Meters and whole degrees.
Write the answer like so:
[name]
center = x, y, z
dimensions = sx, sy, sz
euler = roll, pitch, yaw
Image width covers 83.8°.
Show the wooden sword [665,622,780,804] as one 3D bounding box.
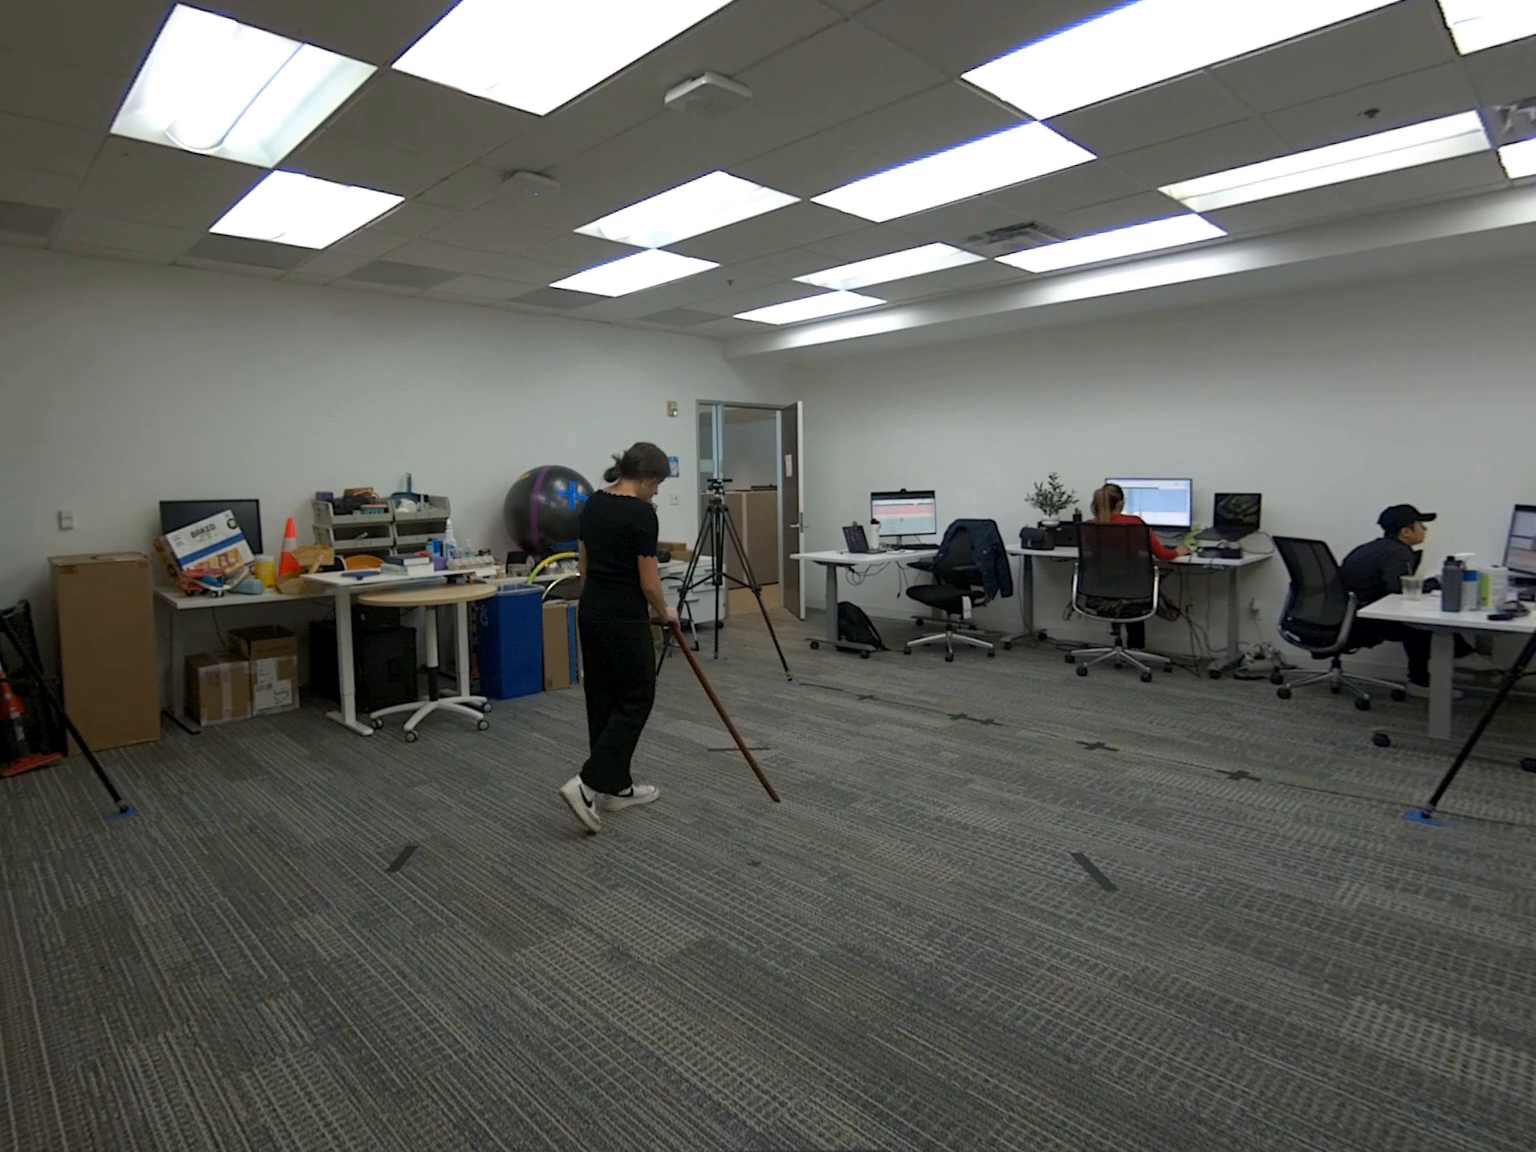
[wooden sword]
center = -0.224, 0.553, 3.724
dimensions = 0.024, 1.028, 0.051
euler = -31, -3, -29
